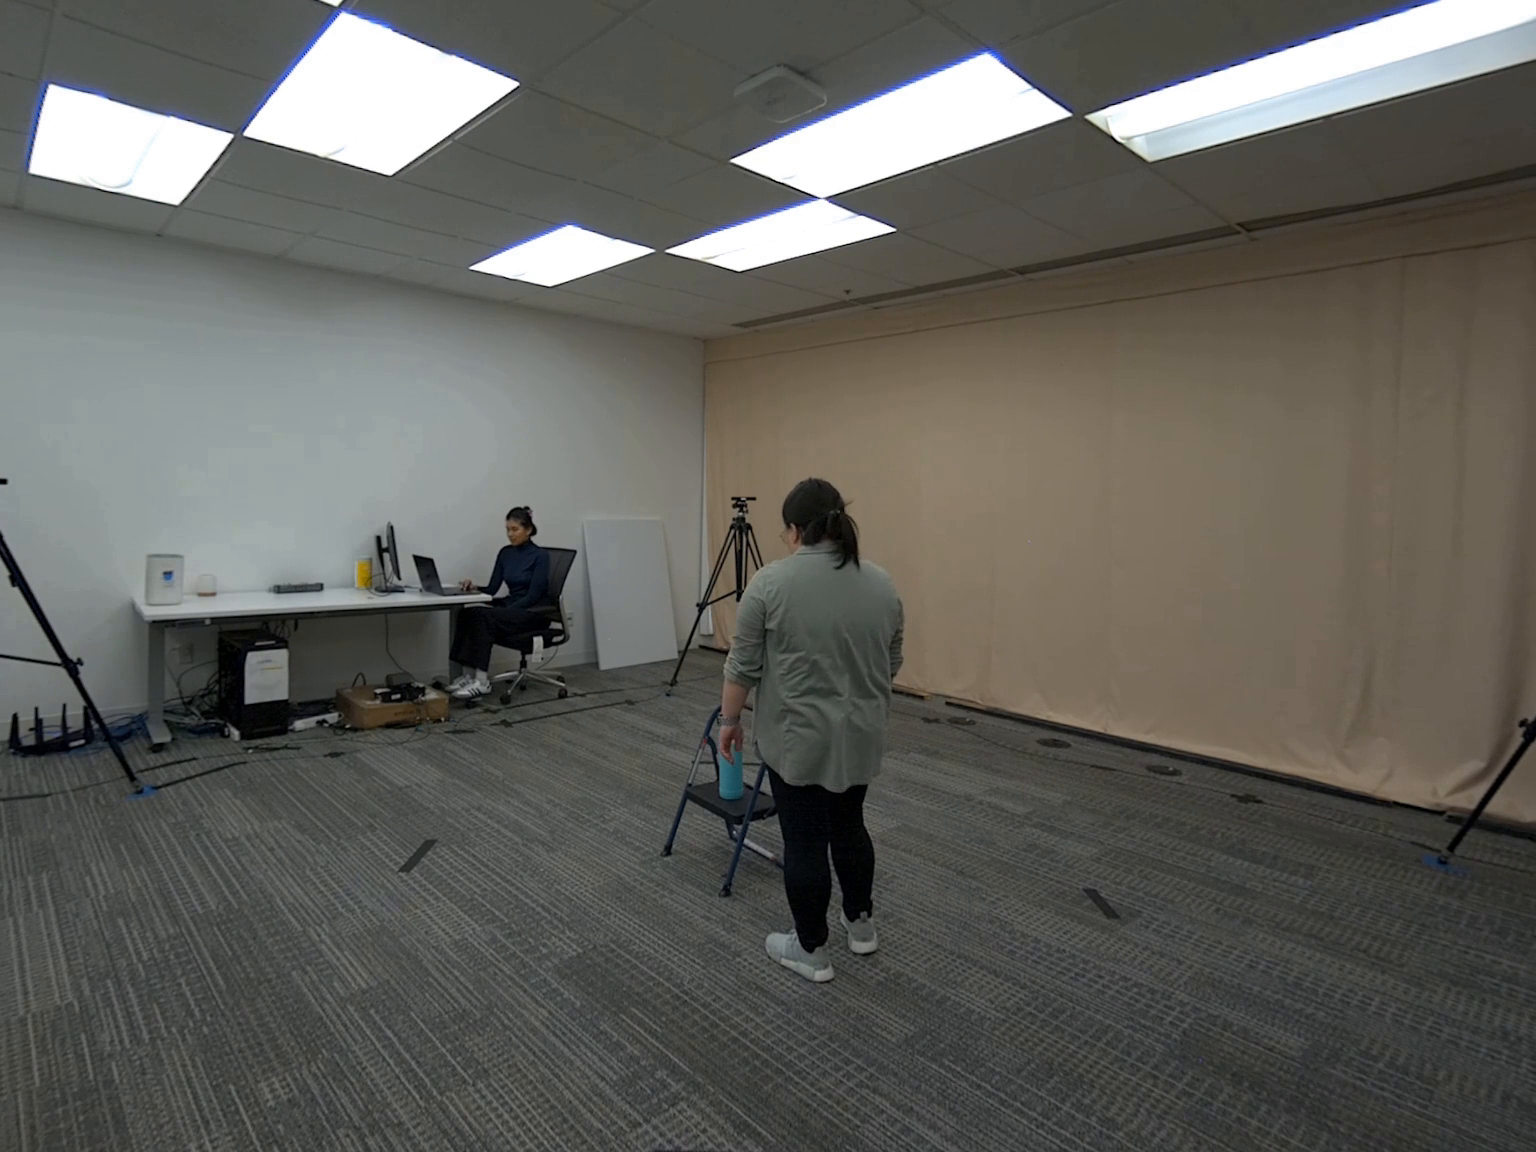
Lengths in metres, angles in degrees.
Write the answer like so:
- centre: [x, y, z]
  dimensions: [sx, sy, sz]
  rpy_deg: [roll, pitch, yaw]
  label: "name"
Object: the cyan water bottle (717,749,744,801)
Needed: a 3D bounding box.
- centre: [-0.147, 0.699, 3.199]
  dimensions: [0.092, 0.283, 0.092]
  rpy_deg: [-1, 1, -1]
  label: "cyan water bottle"
